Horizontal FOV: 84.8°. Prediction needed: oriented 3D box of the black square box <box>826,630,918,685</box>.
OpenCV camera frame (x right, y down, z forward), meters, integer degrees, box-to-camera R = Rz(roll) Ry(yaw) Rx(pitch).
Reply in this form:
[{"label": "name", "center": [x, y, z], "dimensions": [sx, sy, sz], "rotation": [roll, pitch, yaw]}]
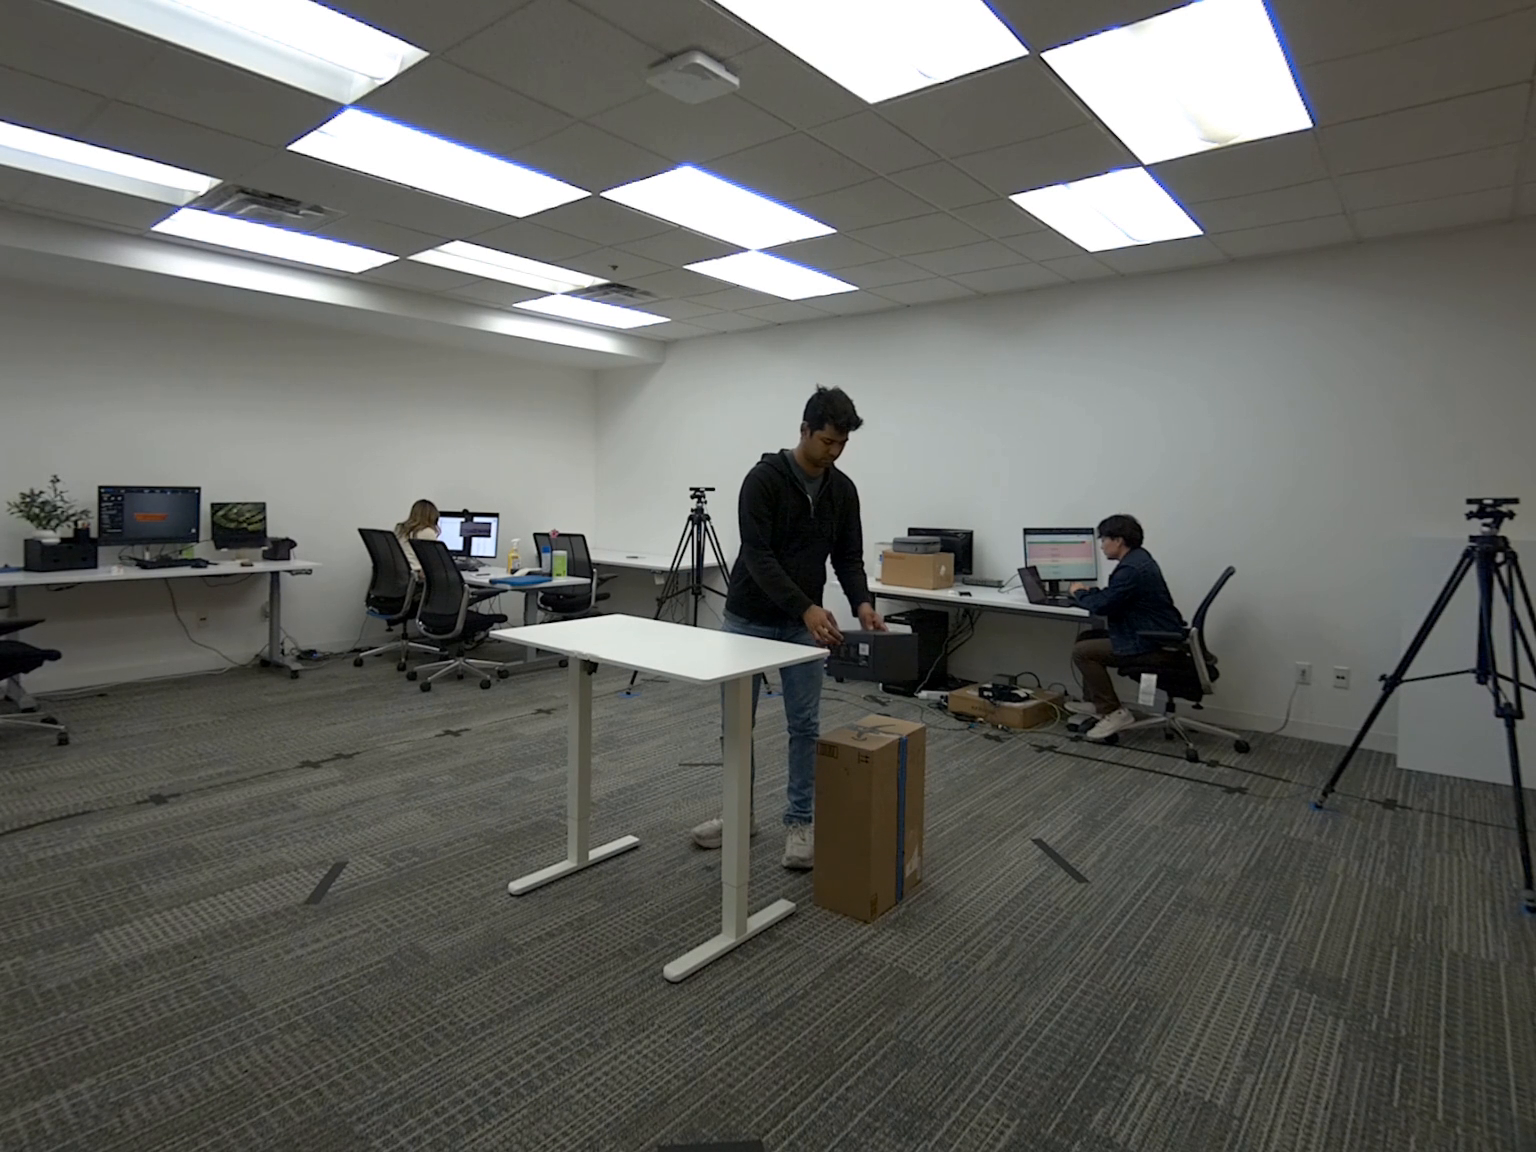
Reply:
[{"label": "black square box", "center": [0.343, 0.262, 2.892], "dimensions": [0.221, 0.156, 0.223], "rotation": [1, -1, -39]}]
